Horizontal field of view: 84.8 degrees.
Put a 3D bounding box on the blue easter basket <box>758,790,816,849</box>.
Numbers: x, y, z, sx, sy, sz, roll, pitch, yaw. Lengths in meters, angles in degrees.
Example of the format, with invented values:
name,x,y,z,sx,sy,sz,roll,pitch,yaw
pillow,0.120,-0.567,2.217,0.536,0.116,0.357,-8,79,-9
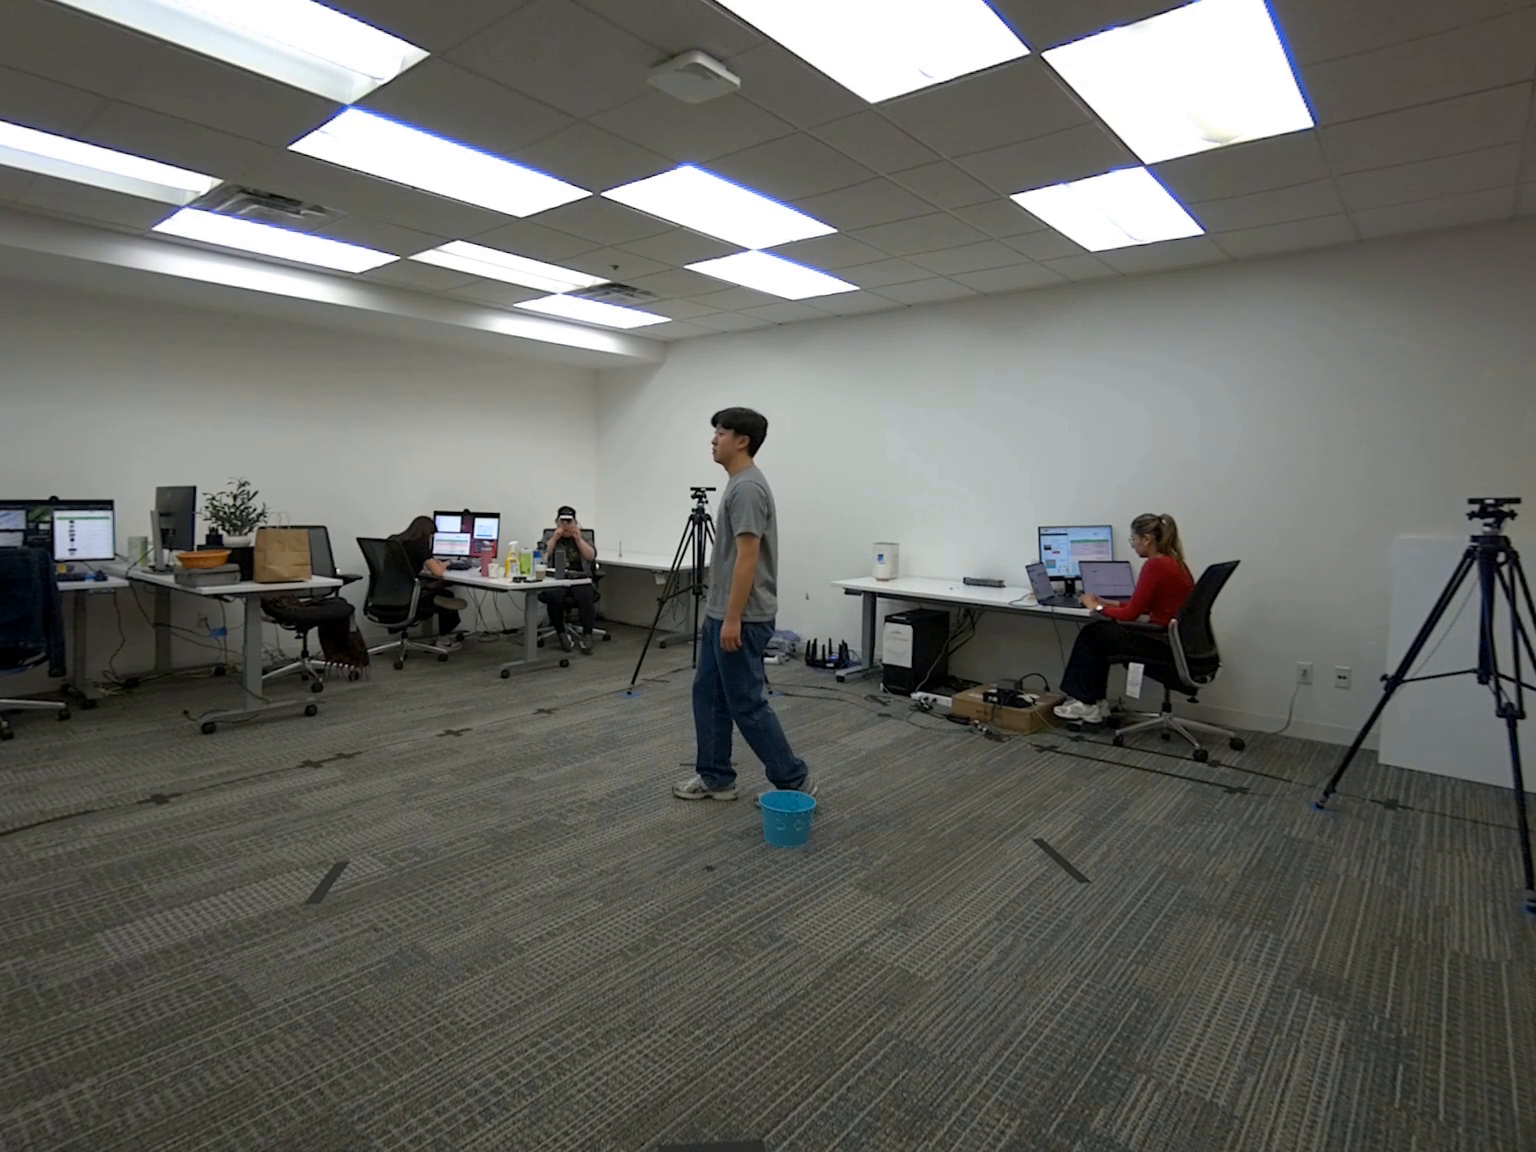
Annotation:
name,x,y,z,sx,sy,sz,roll,pitch,yaw
blue easter basket,0.071,0.967,3.399,0.243,0.155,0.245,1,5,-2
